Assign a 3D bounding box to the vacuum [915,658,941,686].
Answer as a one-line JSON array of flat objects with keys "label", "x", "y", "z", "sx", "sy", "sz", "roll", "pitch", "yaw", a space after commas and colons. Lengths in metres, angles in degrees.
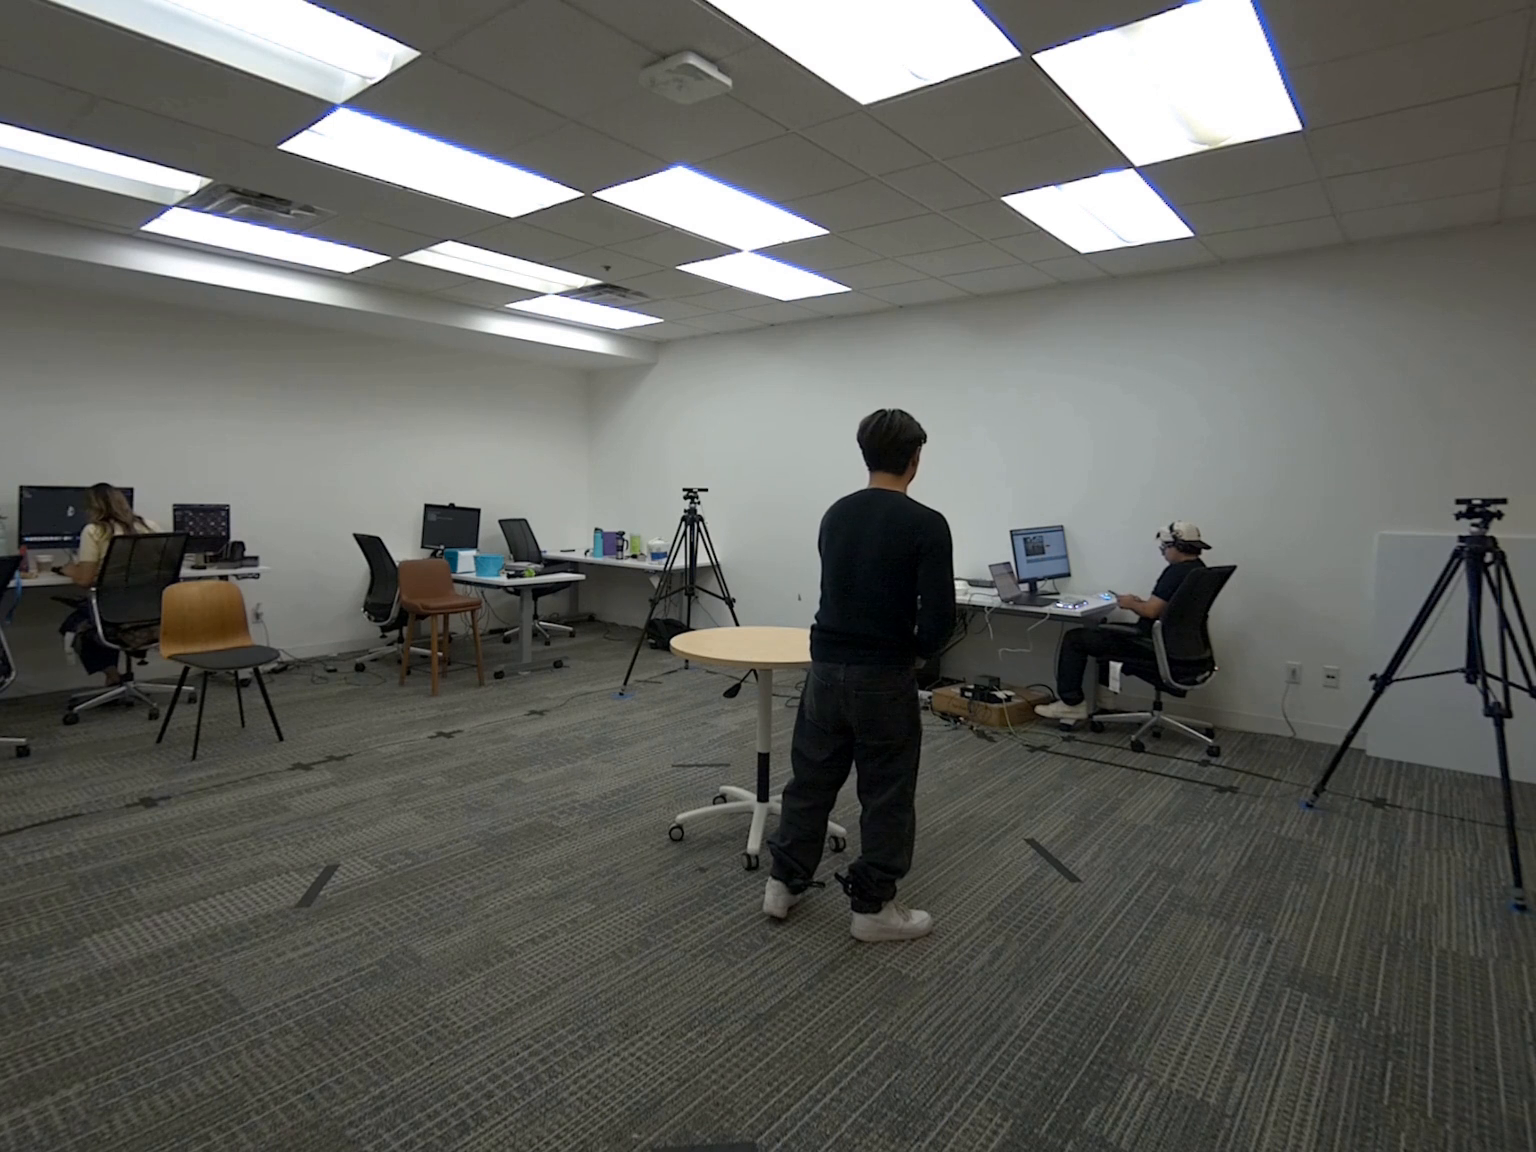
[{"label": "vacuum", "x": 0.492, "y": 0.158, "z": 3.235, "sx": 0.254, "sy": 0.143, "sz": 1.048, "roll": -10, "pitch": 8, "yaw": 7}]
